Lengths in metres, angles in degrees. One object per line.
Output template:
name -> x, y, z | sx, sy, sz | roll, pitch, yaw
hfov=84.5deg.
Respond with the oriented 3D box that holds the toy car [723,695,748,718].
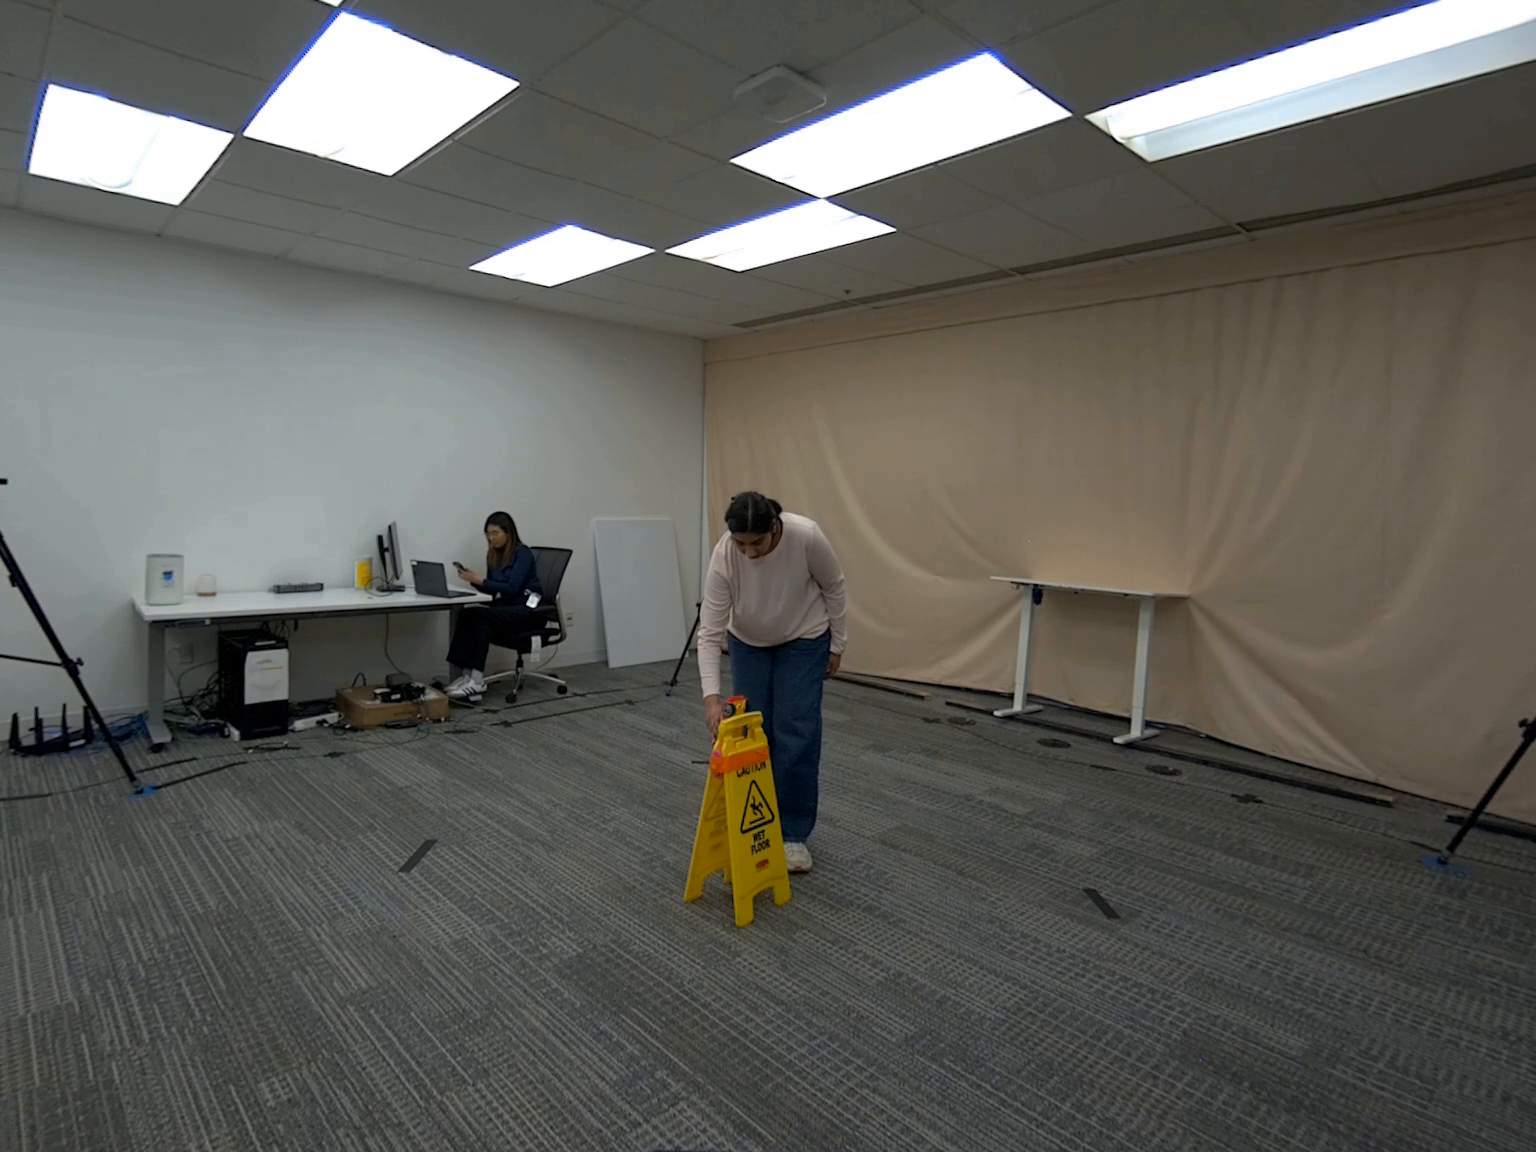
toy car -> -0.135, 0.553, 2.935 | 0.085, 0.252, 0.127 | 31, 21, 33
